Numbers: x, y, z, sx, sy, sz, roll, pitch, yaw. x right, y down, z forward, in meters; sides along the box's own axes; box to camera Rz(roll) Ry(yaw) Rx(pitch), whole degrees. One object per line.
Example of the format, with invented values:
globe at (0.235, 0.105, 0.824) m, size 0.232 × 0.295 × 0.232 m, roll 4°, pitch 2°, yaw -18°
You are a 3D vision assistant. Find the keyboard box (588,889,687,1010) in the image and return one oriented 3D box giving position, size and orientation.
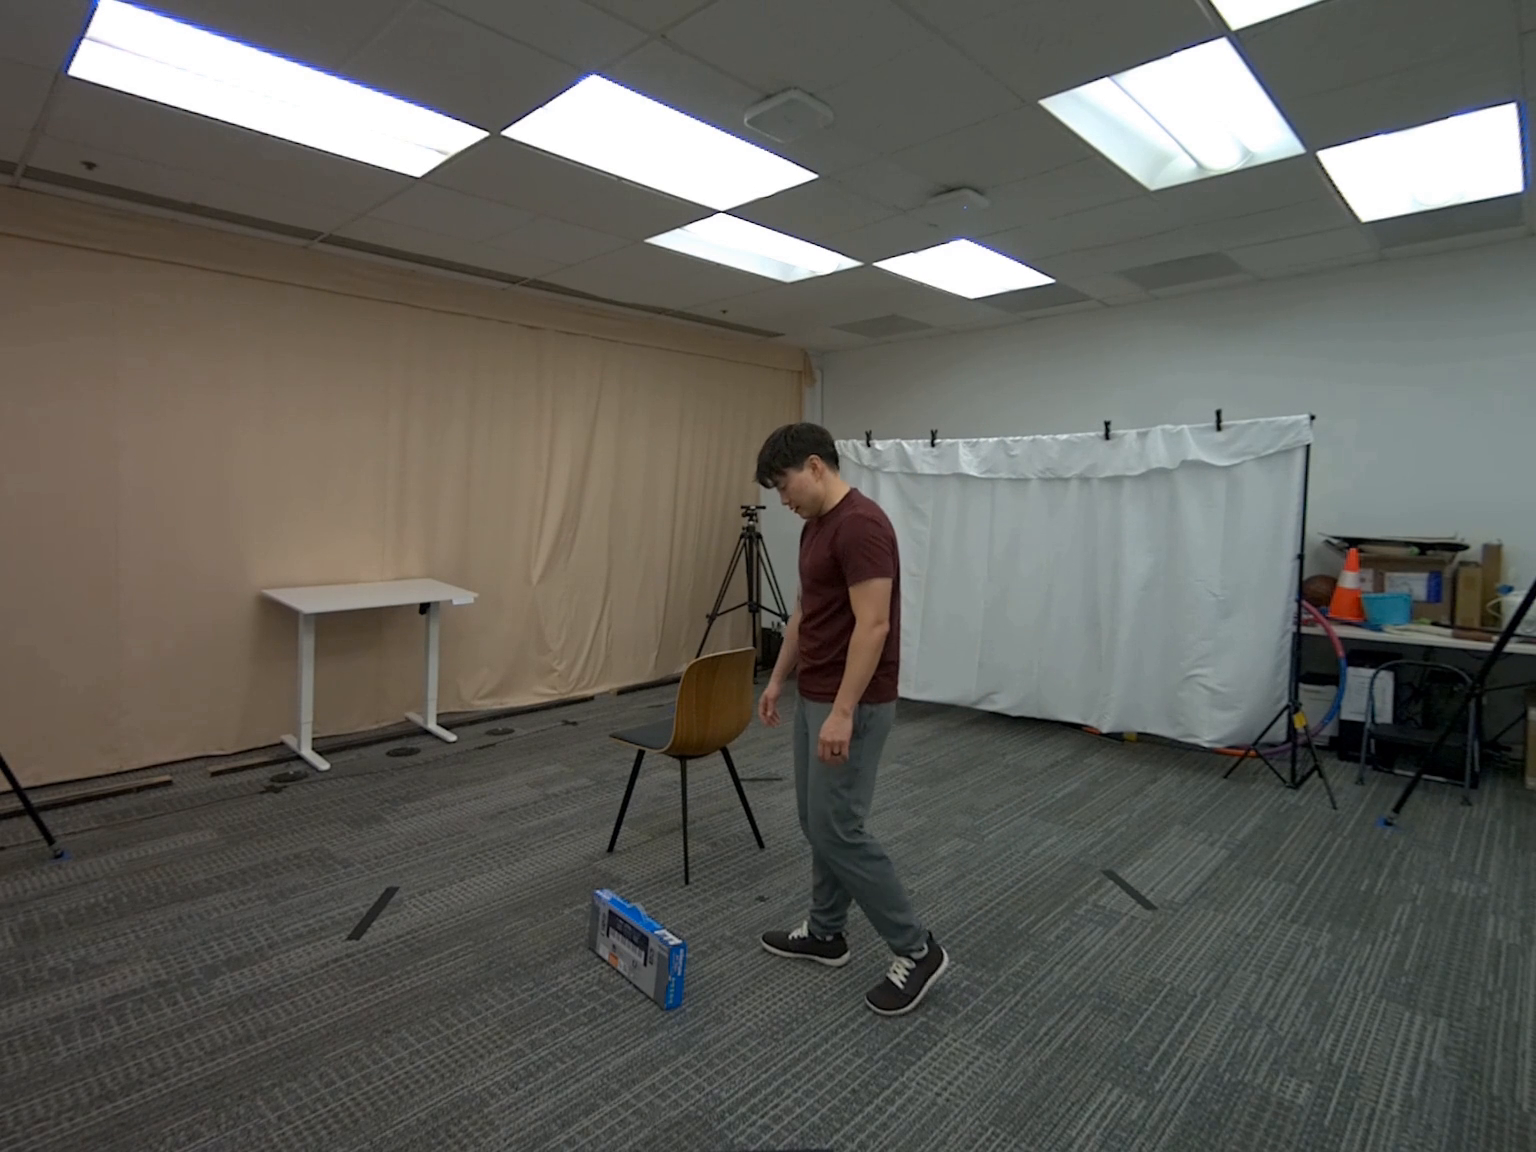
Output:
keyboard box at (-0.400, 1.096, 2.507) m, size 0.057 × 0.176 × 0.451 m, roll 6°, pitch 0°, yaw -40°
